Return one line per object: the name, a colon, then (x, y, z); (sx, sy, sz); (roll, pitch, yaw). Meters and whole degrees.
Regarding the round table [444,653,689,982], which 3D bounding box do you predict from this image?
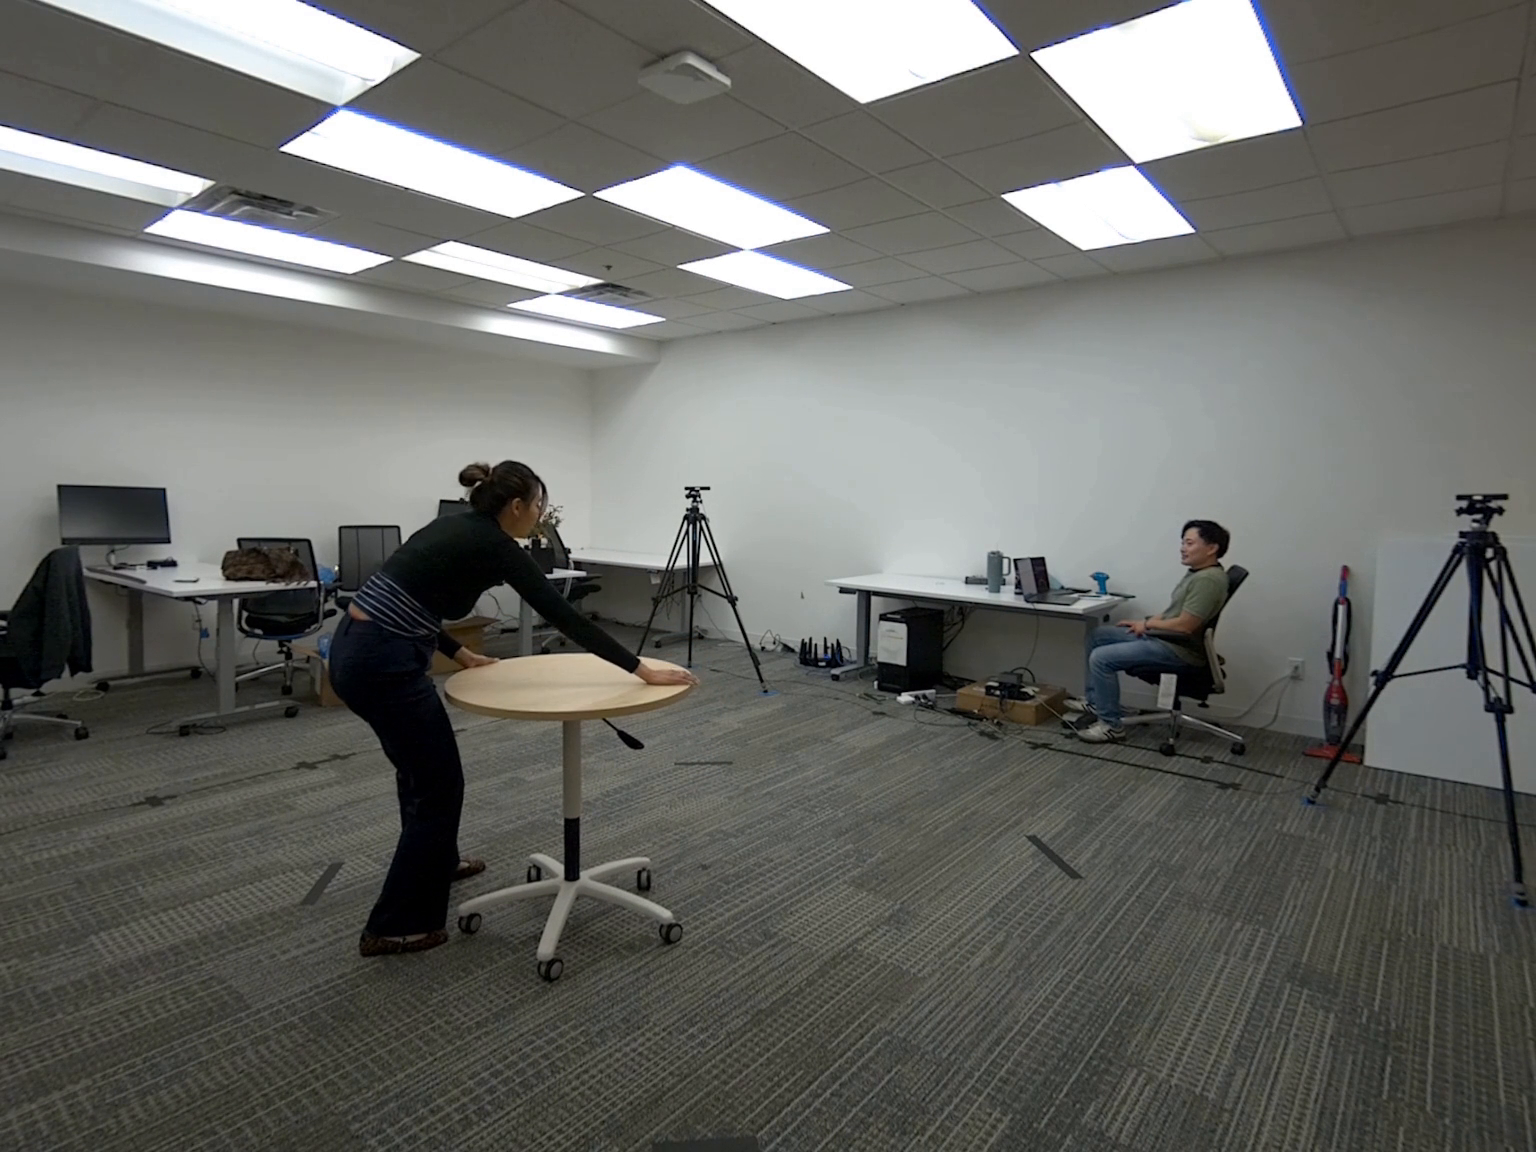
round table: (-0.625, 0.716, 2.684); (0.763, 0.791, 0.768); (0, 4, -2)
